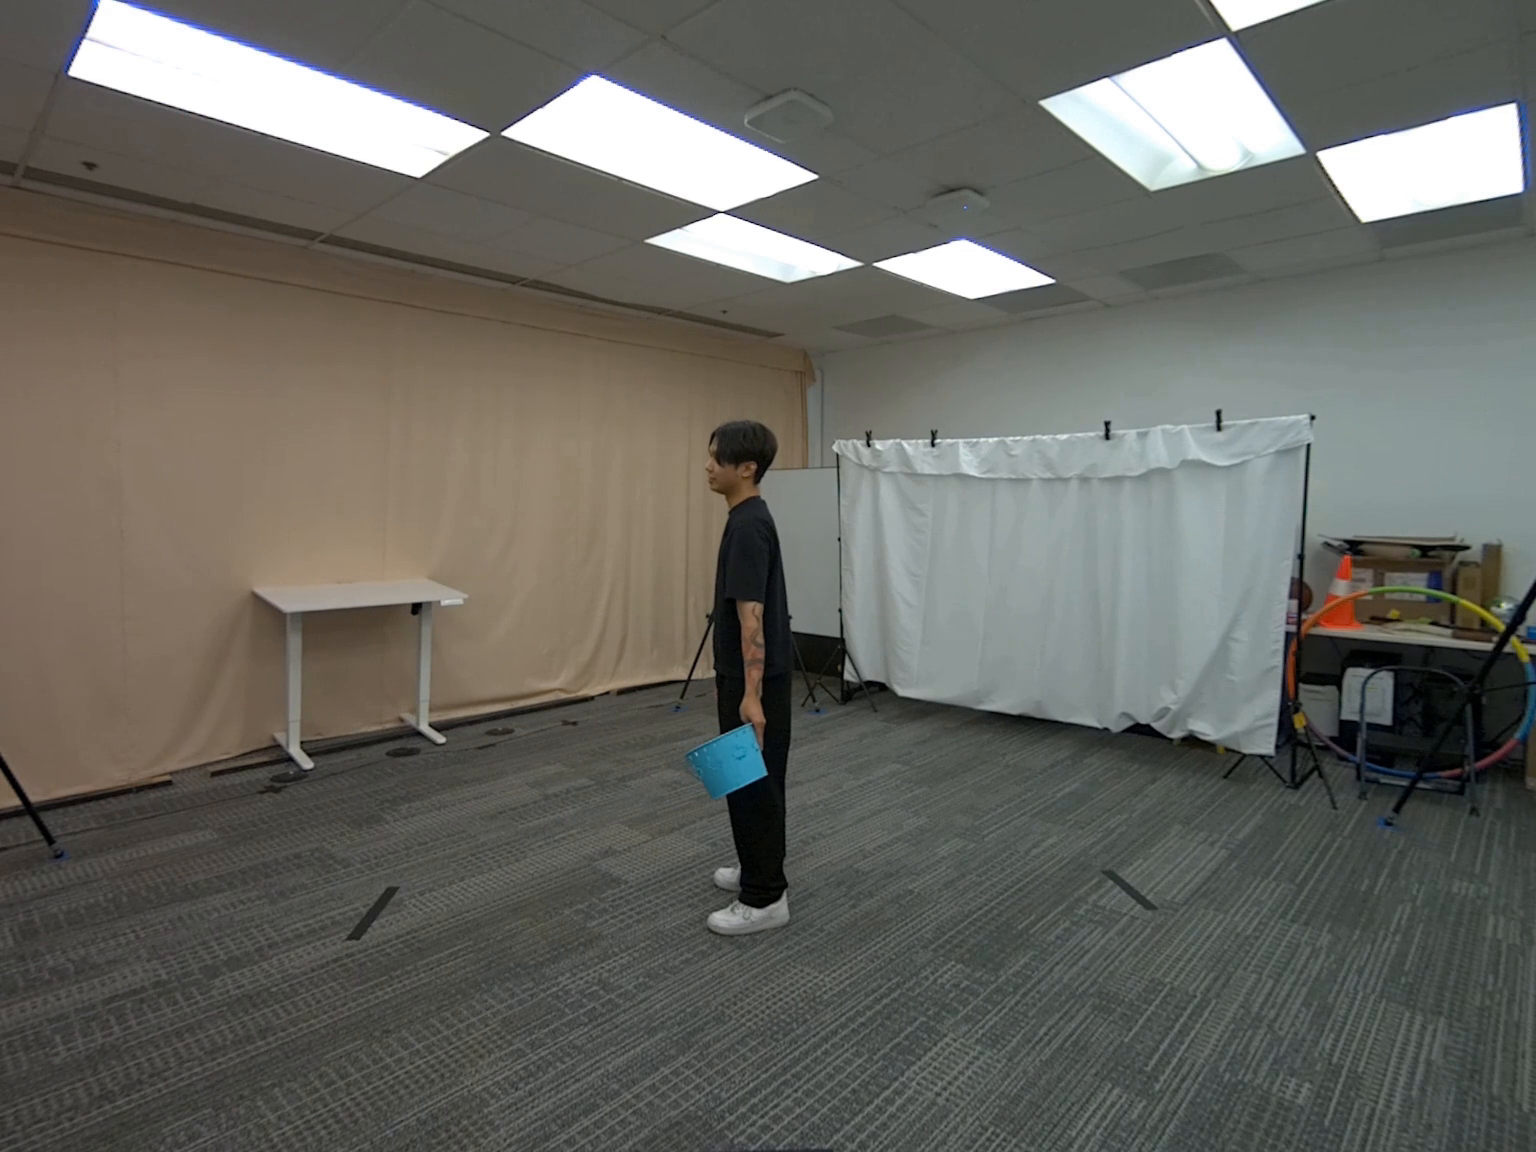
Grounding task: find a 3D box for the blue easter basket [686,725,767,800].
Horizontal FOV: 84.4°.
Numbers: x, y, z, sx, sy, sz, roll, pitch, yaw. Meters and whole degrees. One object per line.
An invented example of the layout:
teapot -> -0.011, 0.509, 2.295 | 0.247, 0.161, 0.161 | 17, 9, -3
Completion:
blue easter basket -> -0.121, 0.547, 2.498 | 0.242, 0.158, 0.241 | -23, -12, -8
